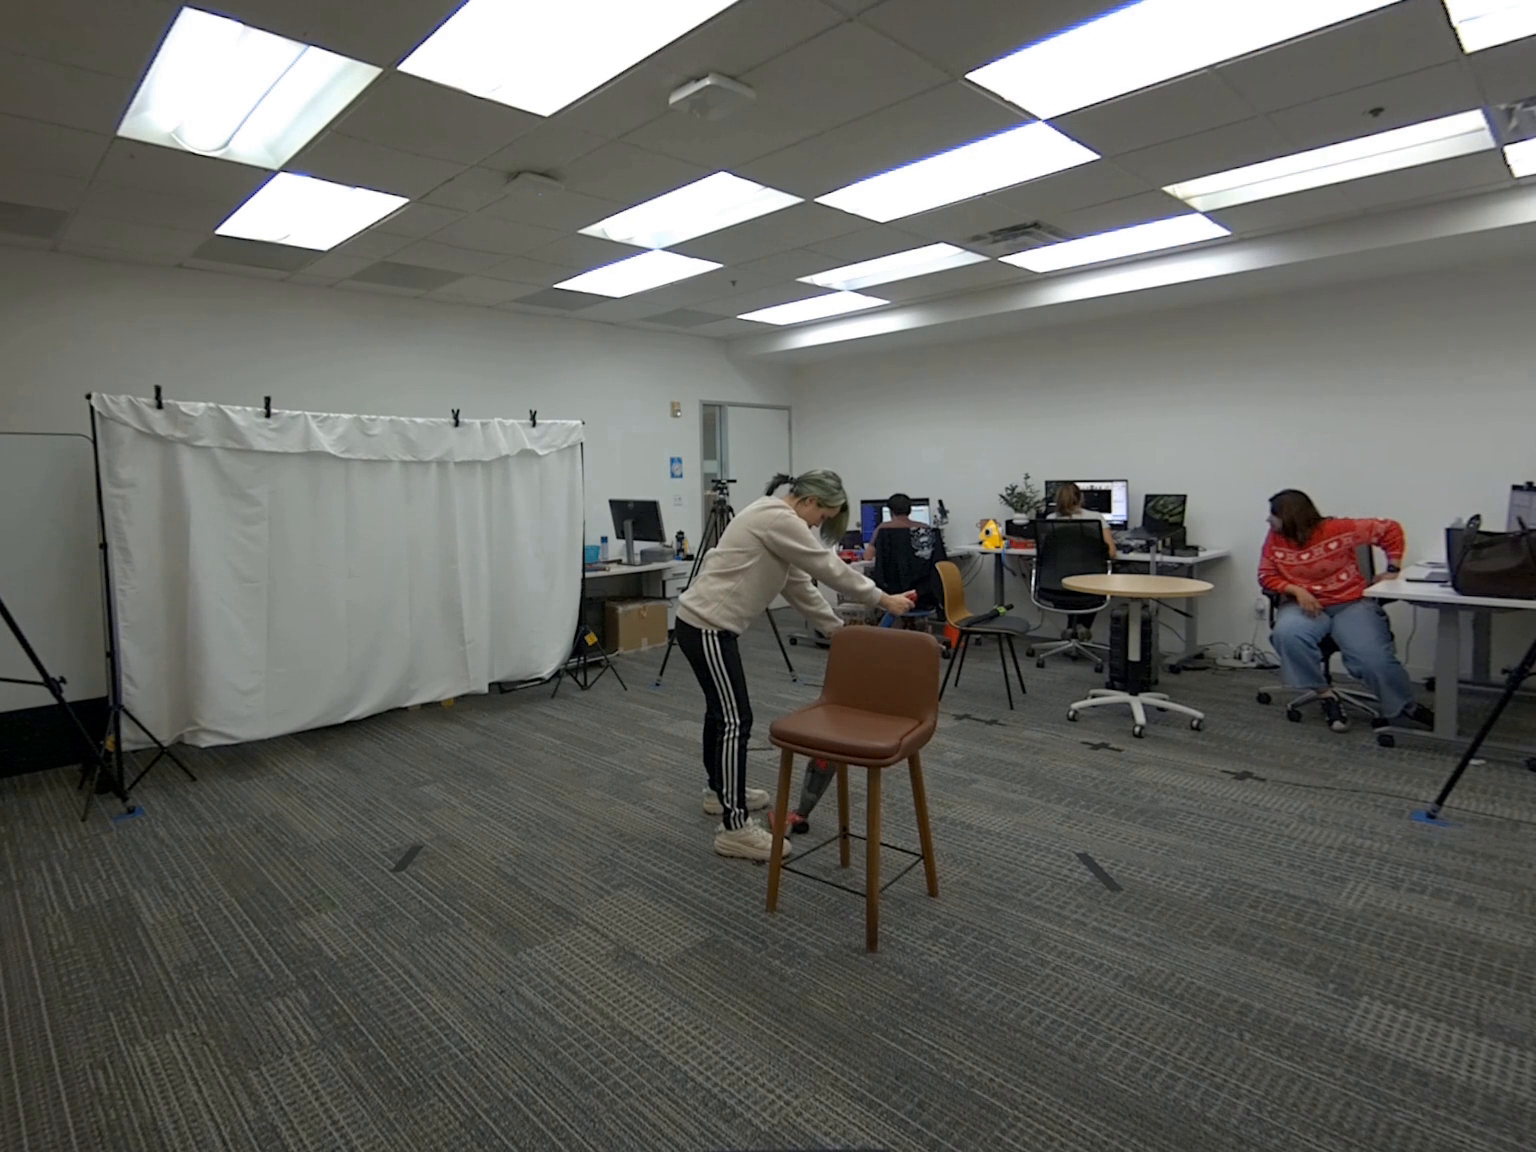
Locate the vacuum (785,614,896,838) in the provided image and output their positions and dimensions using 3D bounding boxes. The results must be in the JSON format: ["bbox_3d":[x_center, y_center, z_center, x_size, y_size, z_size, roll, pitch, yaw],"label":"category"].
[{"bbox_3d":[0.333,0.539,3.407,0.141,1.049,0.258,28,0,-18],"label":"vacuum"}]
